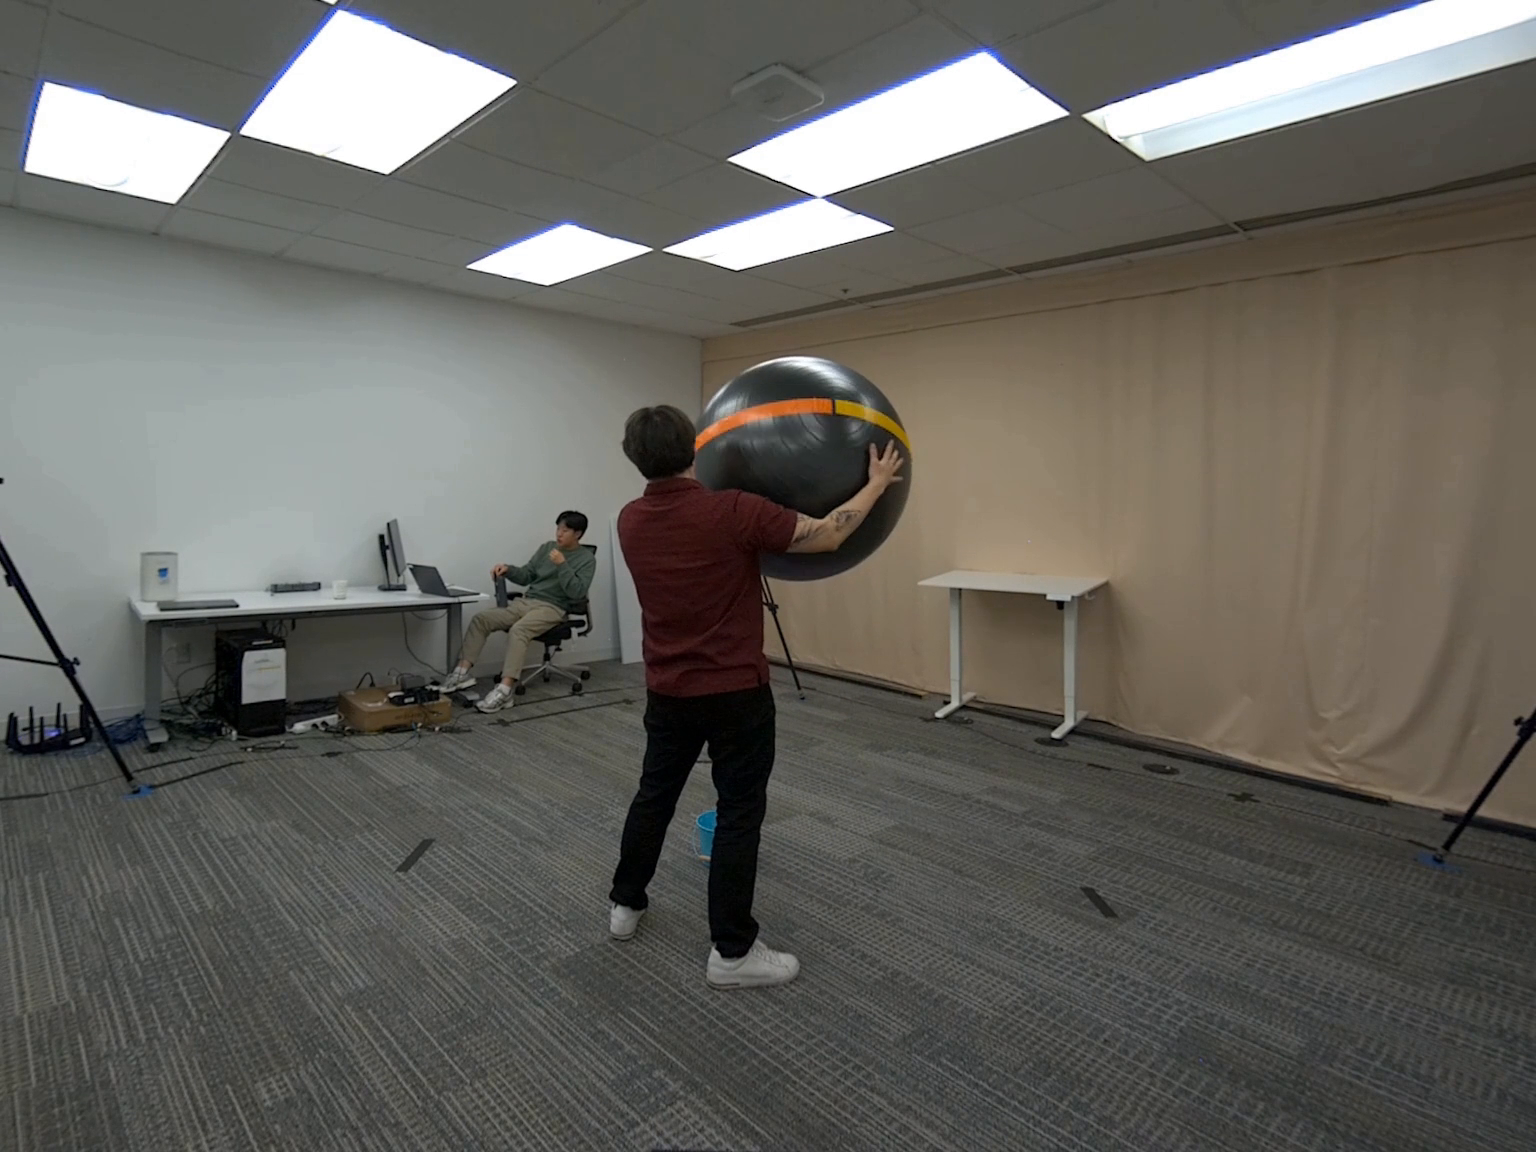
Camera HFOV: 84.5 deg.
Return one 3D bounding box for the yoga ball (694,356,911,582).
[{"bbox_3d":[0.102,-0.354,2.854,0.757,0.756,0.761,1,4,-1],"label":"yoga ball"}]
